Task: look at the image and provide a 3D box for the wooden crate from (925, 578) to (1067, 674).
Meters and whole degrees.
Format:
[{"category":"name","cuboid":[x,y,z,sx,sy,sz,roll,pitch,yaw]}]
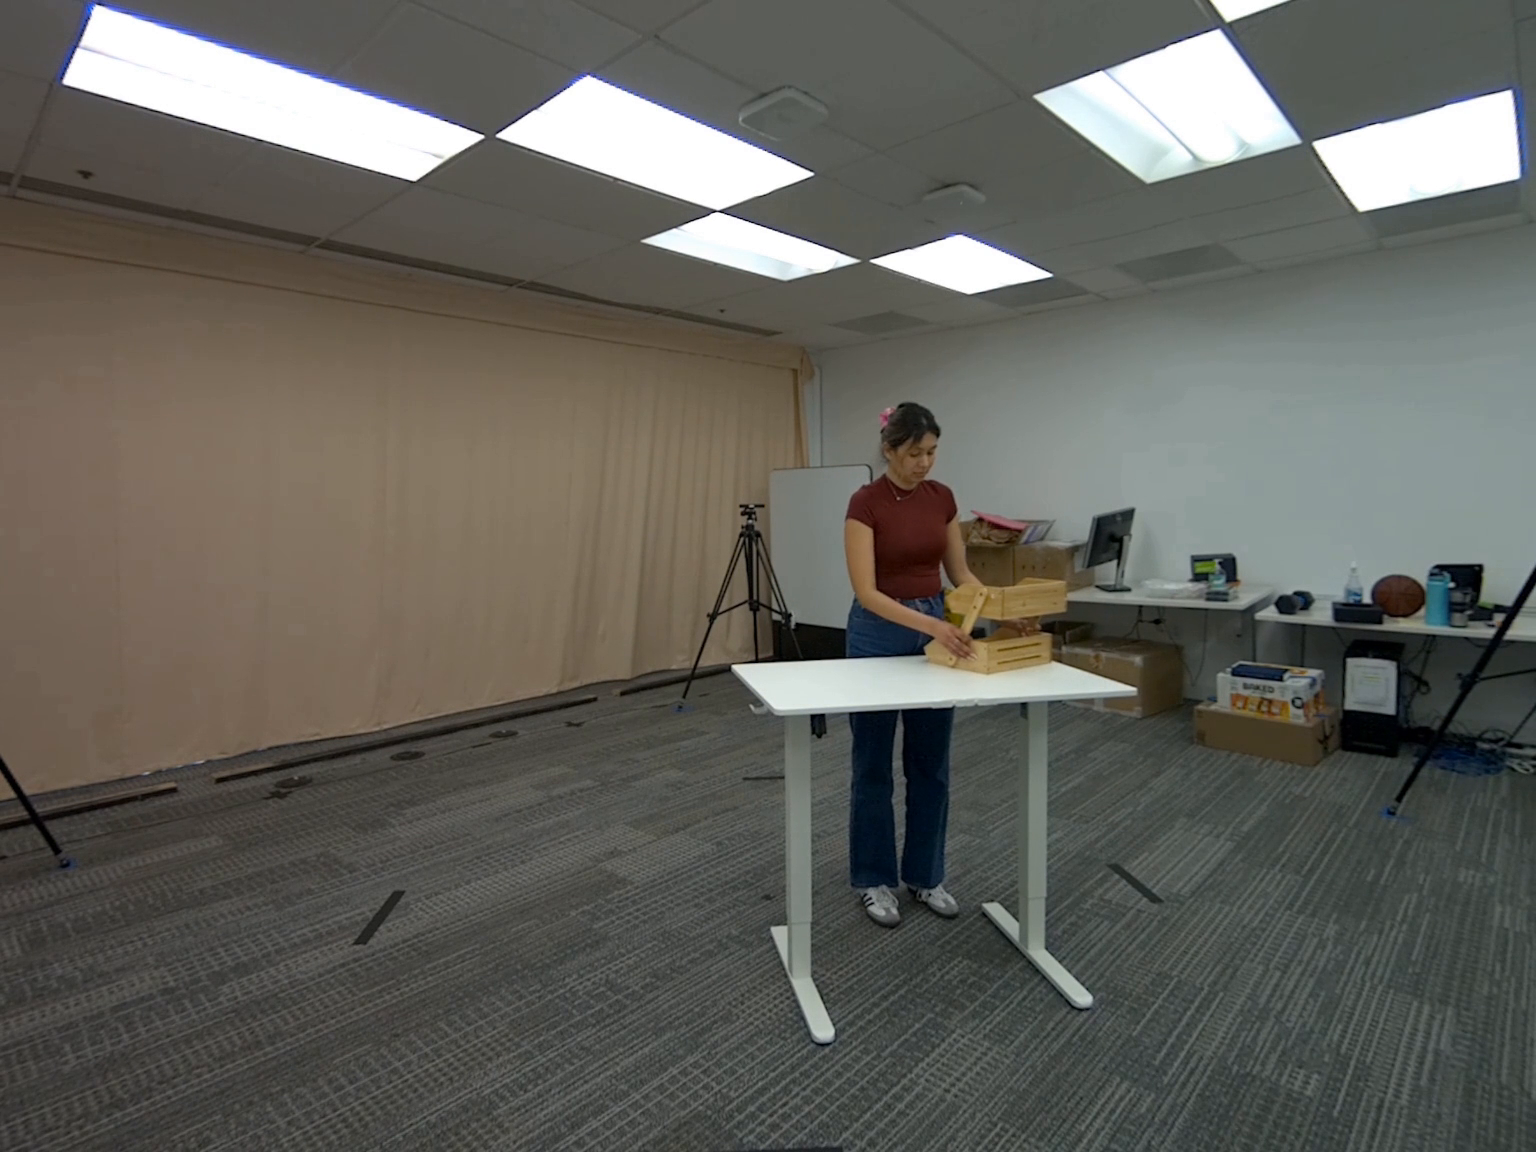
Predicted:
[{"category":"wooden crate","cuboid":[0.718,0.147,2.623,0.315,0.272,0.311,-5,7,-34]}]
